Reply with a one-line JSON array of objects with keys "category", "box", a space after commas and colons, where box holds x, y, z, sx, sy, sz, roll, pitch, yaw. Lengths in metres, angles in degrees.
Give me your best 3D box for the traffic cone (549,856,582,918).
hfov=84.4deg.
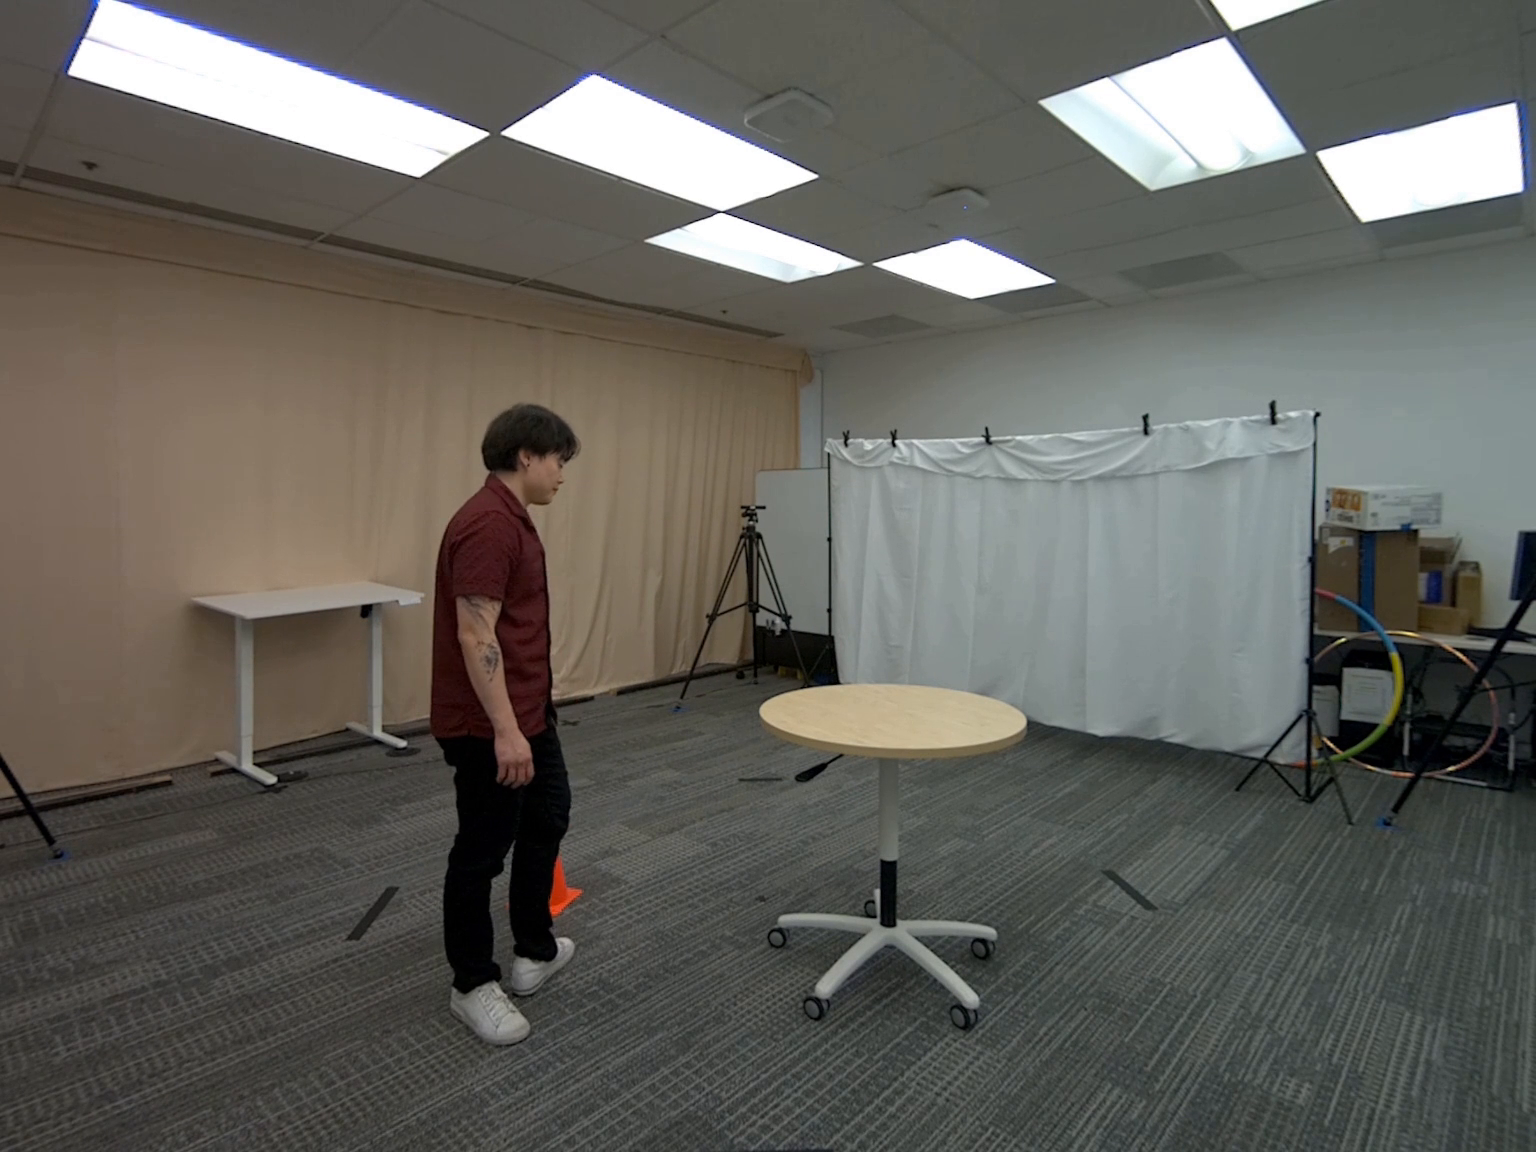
[{"category": "traffic cone", "box": [-0.800, 0.964, 2.980, 0.207, 0.383, 0.201, -1, 2, 19]}]
